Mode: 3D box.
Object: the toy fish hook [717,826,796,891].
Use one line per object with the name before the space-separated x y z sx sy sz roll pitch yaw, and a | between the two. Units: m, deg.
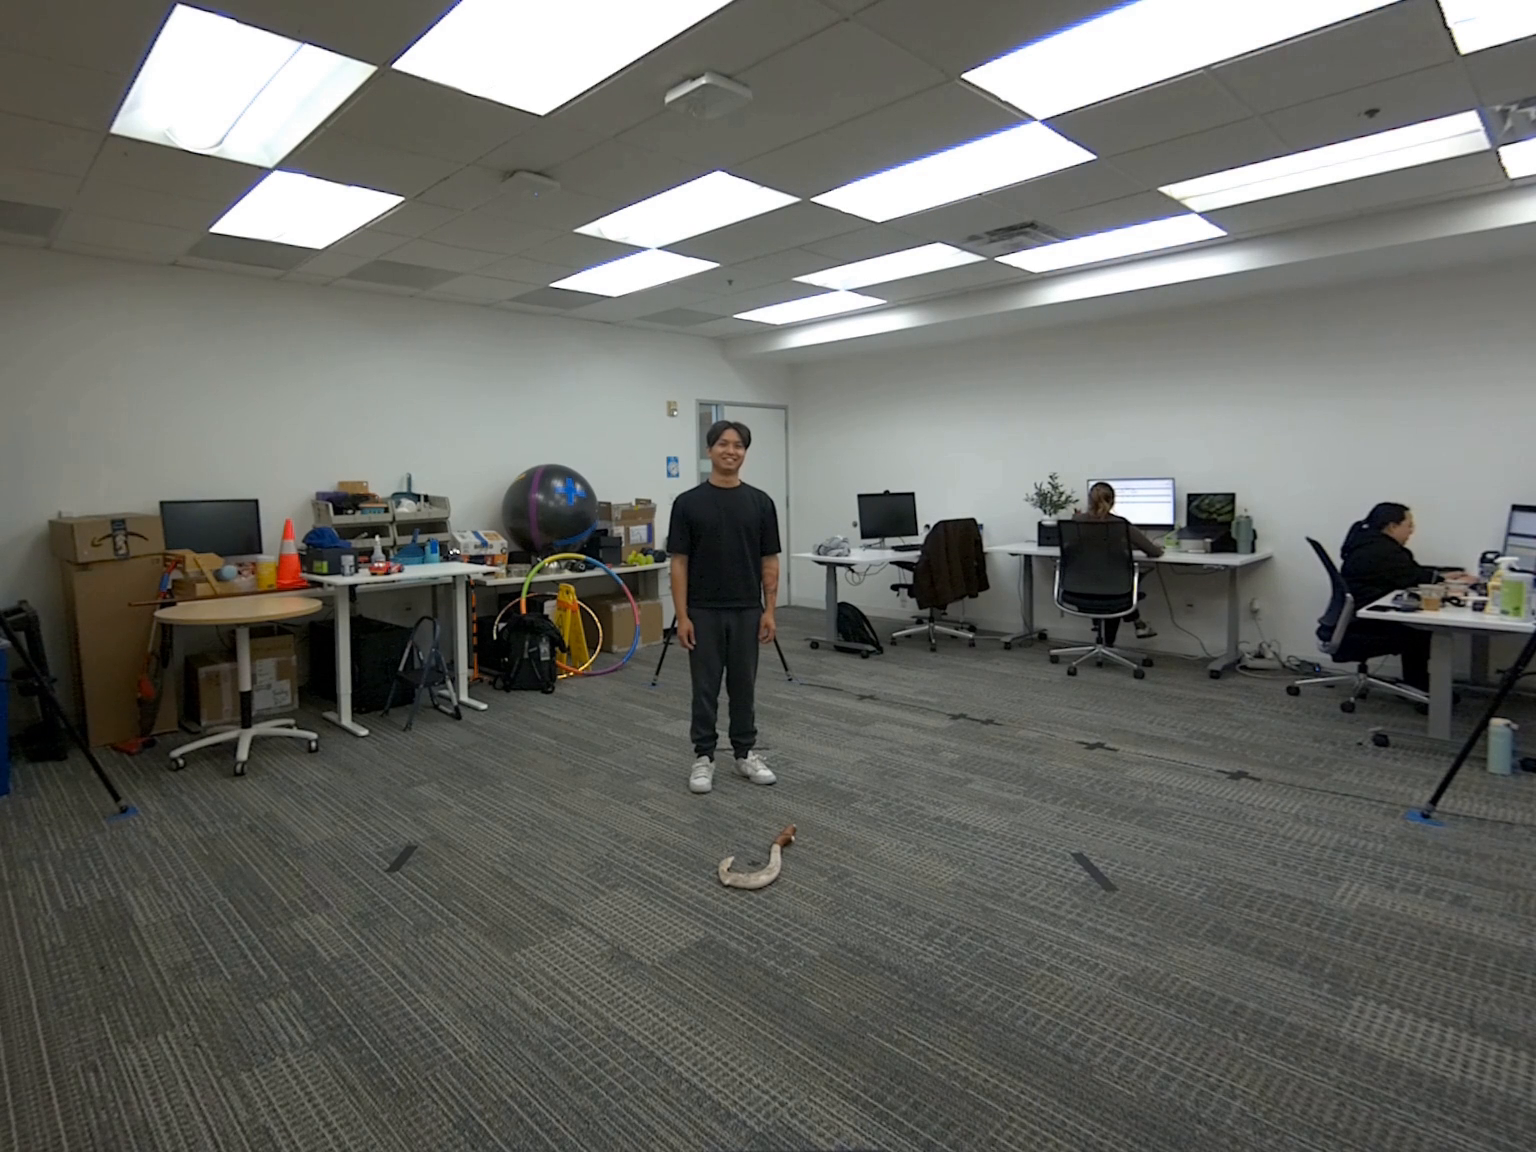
toy fish hook | -0.032 1.021 3.145 0.229 0.048 0.499 3 7 18
